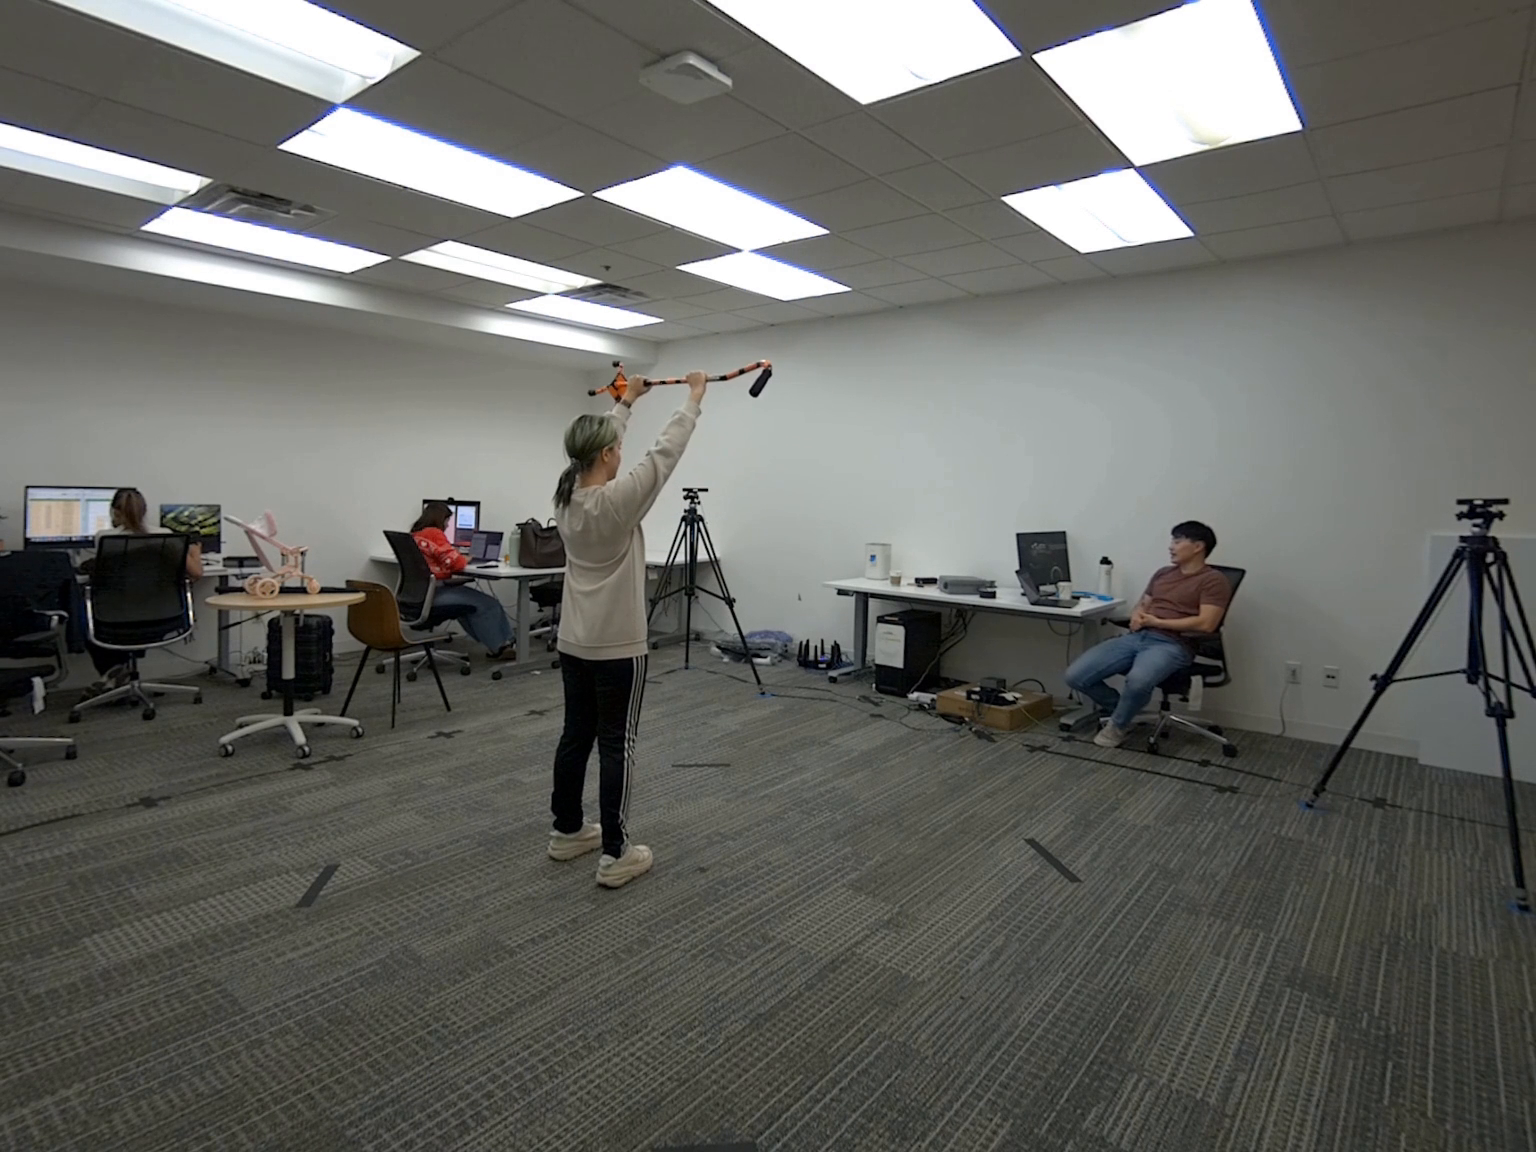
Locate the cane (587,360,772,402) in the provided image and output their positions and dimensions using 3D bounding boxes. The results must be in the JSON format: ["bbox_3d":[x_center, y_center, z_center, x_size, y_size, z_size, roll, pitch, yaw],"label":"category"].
[{"bbox_3d":[-0.330,-0.733,3.229,0.941,0.207,0.145,9,-32,45],"label":"cane"}]
